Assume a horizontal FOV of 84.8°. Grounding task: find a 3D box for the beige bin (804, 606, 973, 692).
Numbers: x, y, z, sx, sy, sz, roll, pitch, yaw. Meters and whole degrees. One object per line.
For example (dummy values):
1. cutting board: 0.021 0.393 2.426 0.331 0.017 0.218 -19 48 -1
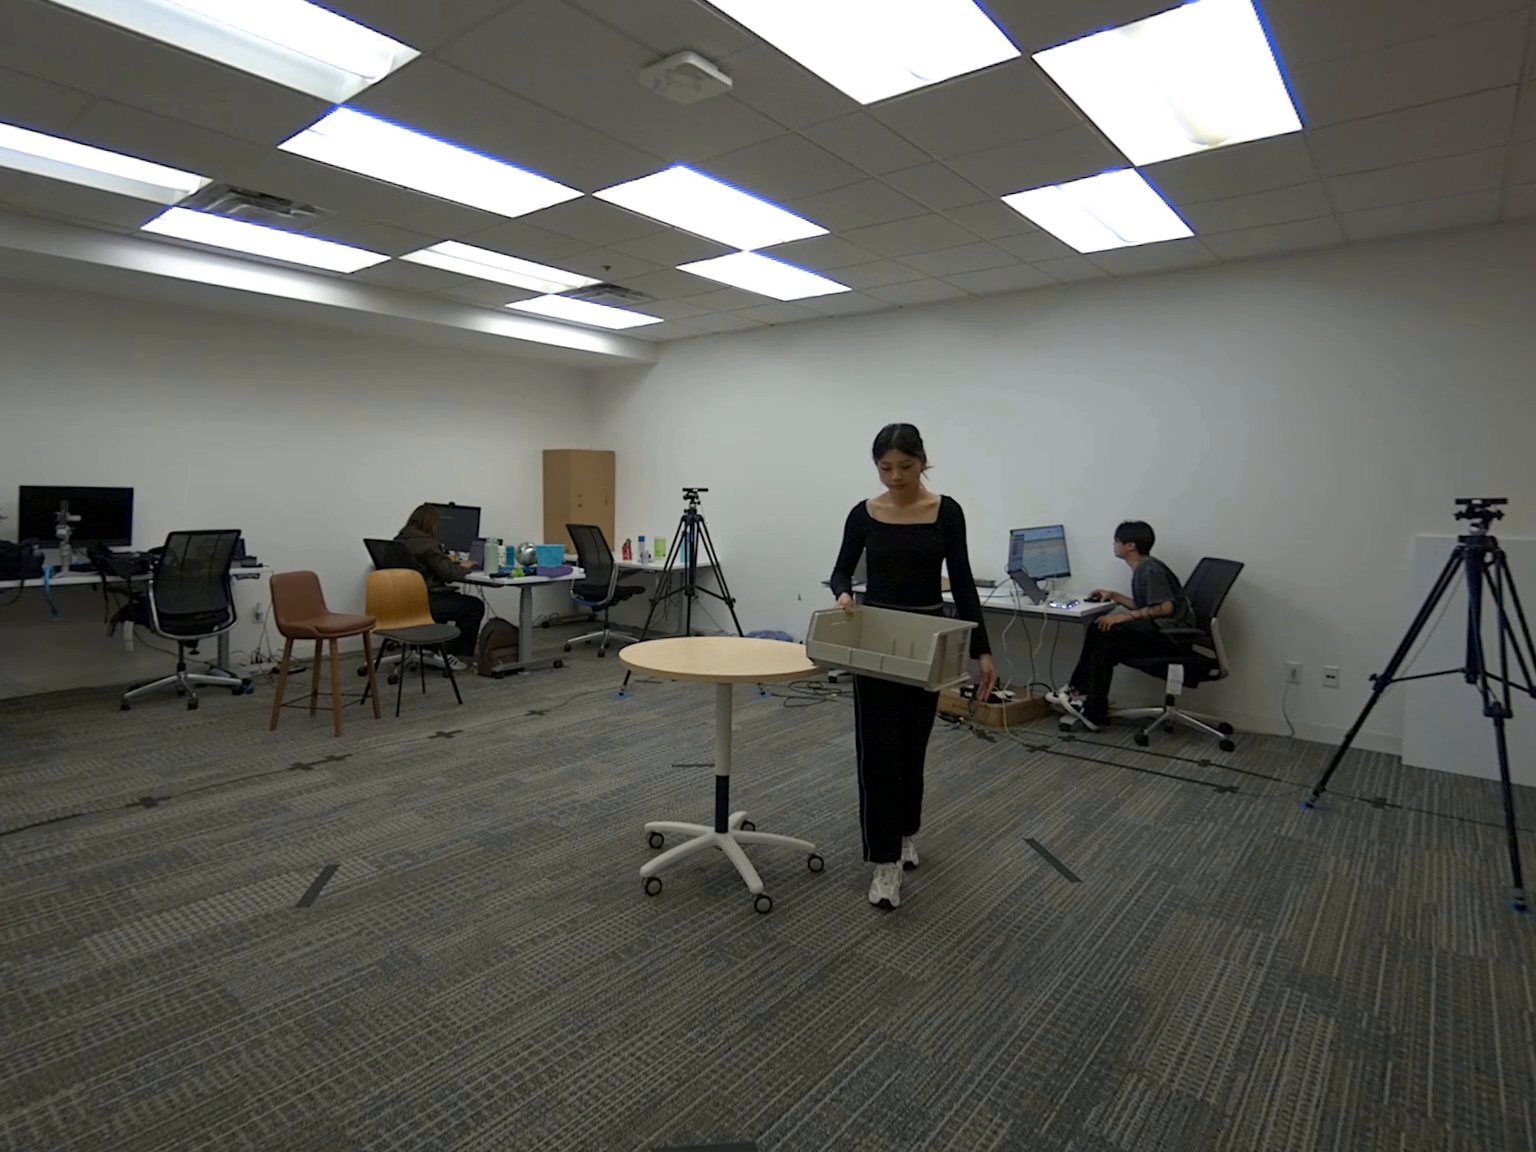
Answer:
1. beige bin: 0.386 0.218 2.708 0.436 0.188 0.366 6 4 33
